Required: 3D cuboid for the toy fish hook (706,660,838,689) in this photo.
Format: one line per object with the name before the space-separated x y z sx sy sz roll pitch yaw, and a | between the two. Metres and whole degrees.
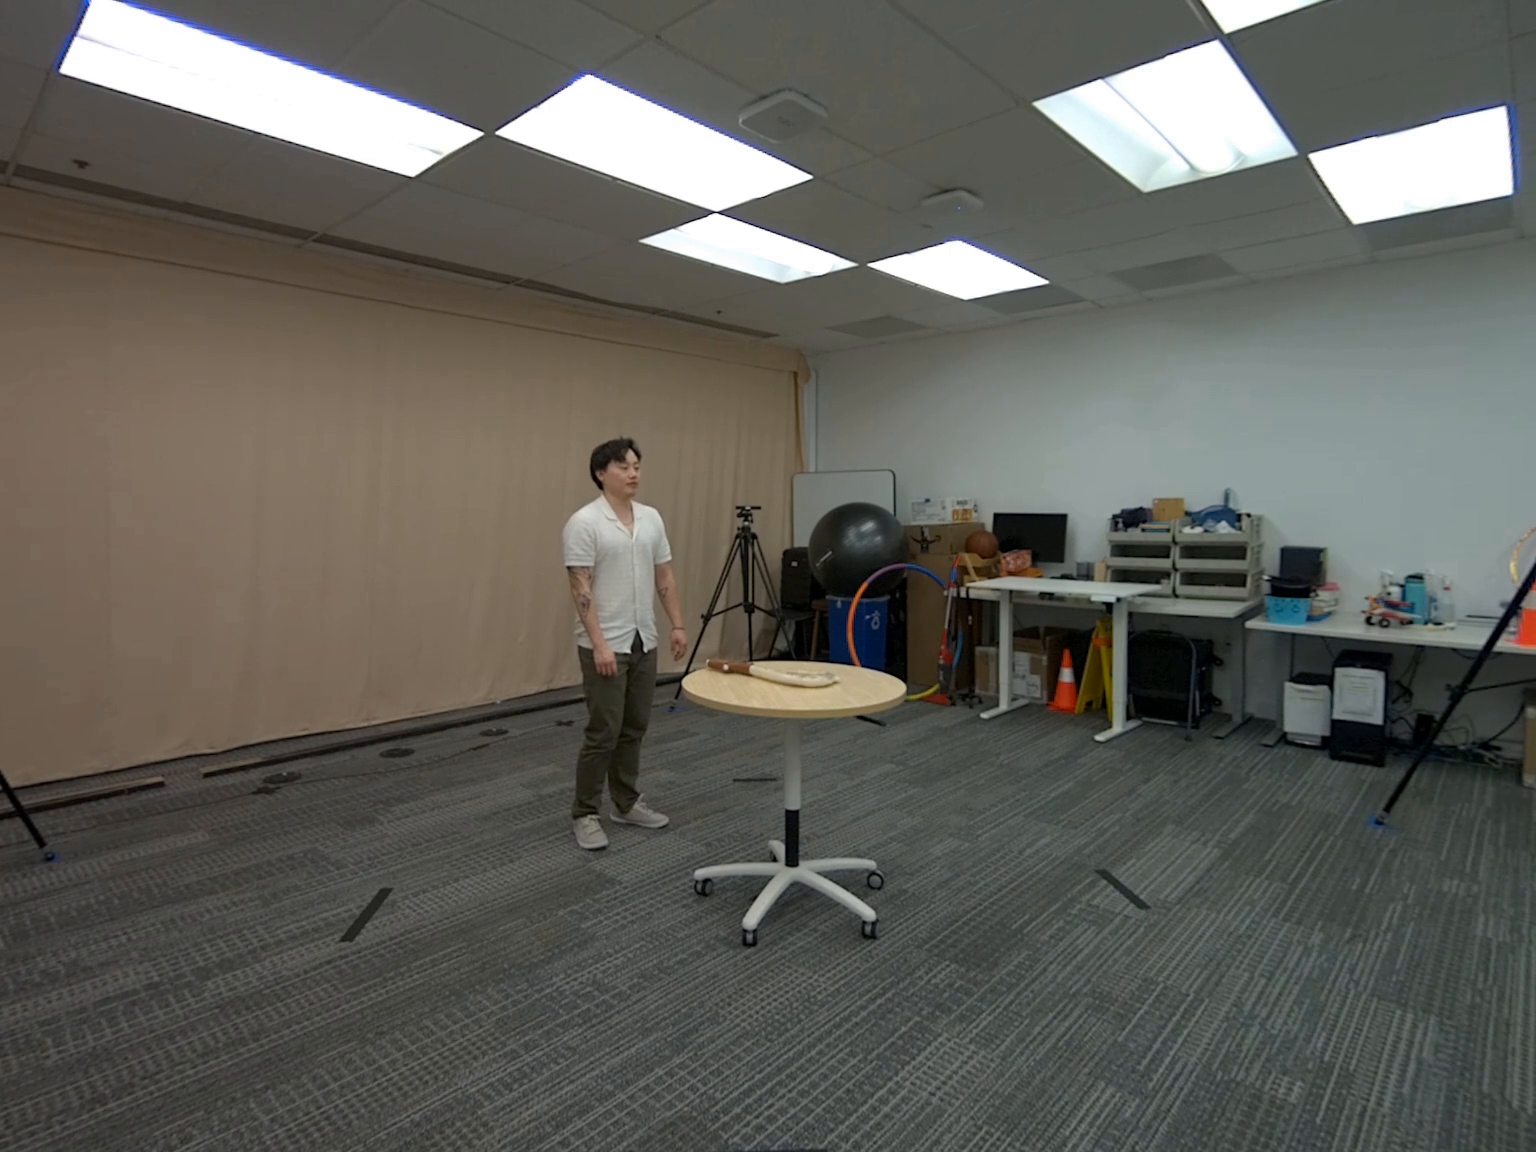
toy fish hook | 0.017 0.348 3.006 0.523 0.048 0.217 5 -2 36
